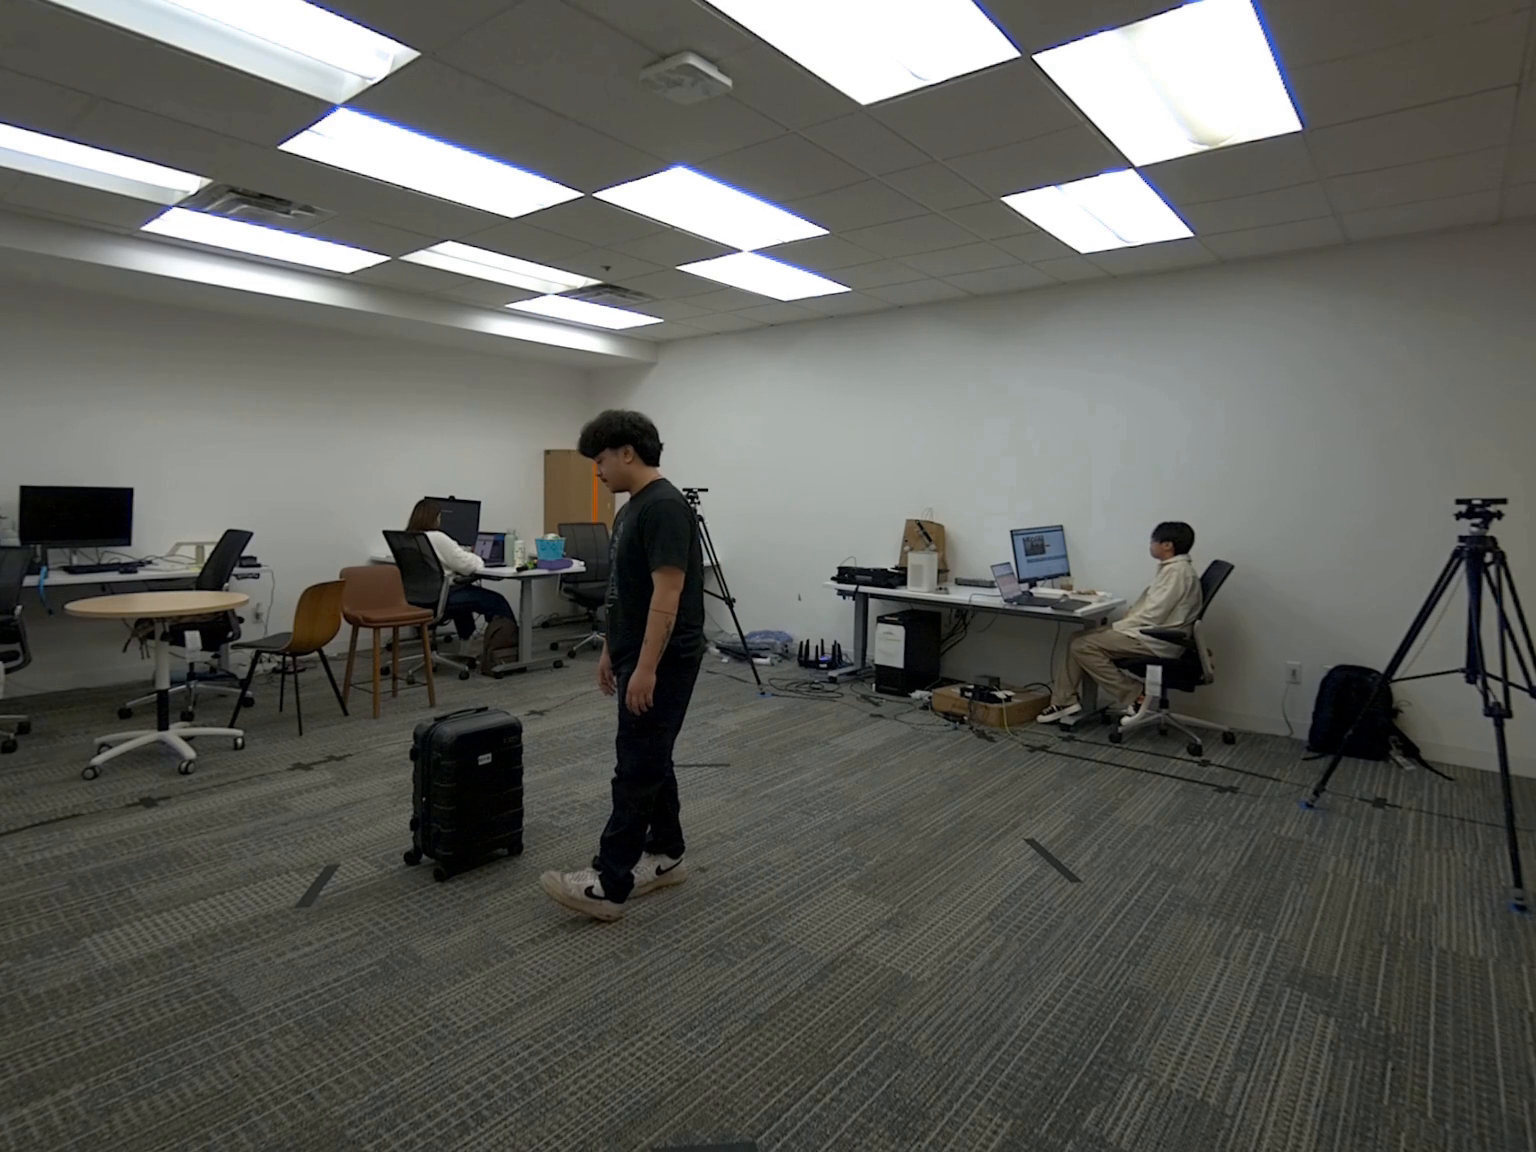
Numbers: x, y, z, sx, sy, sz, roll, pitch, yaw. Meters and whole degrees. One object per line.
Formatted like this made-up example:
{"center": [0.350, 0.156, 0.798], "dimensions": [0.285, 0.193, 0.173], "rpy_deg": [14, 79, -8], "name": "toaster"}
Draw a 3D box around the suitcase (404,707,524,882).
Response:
{"center": [-1.122, 0.777, 3.145], "dimensions": [0.257, 0.548, 0.364], "rpy_deg": [5, 5, 41], "name": "suitcase"}
